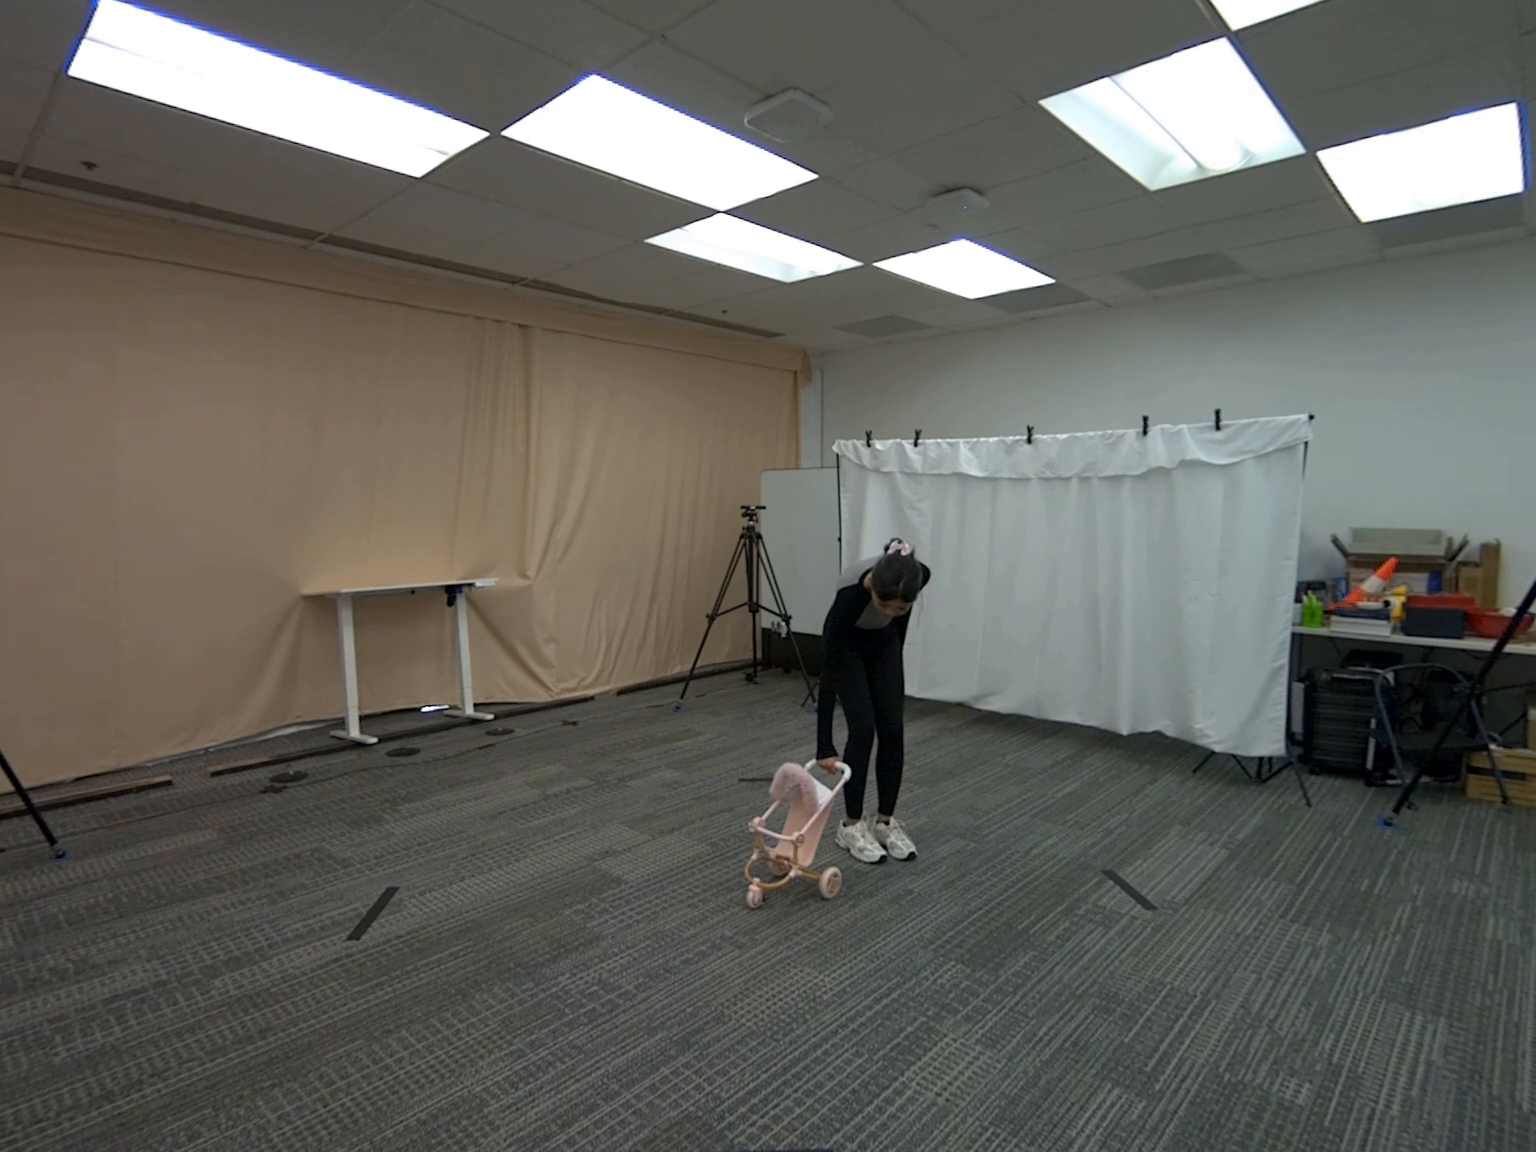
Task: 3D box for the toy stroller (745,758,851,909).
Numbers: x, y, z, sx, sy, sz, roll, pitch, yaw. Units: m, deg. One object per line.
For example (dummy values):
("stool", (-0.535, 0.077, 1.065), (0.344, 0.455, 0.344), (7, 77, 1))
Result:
("toy stroller", (0.092, 0.914, 3.027), (0.329, 0.536, 0.290), (18, -9, -38))
